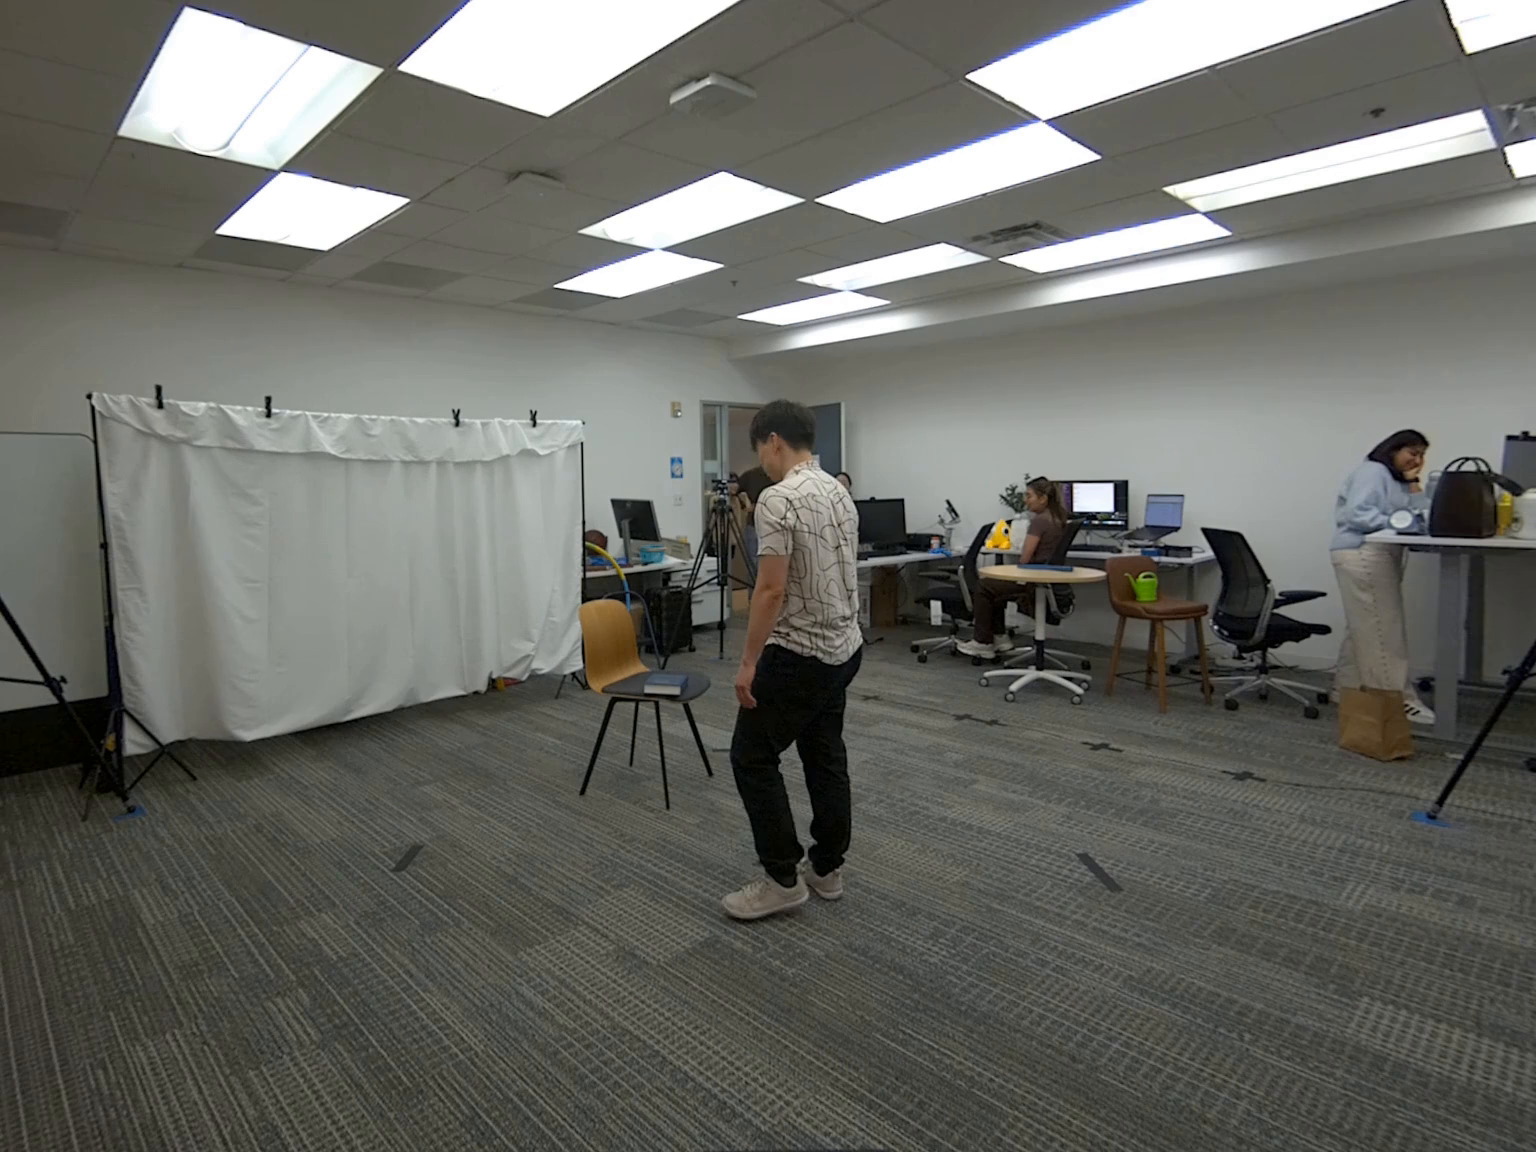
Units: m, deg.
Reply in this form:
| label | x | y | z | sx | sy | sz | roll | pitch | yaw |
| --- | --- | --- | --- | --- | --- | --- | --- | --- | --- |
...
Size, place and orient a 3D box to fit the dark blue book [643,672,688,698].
| label | x | y | z | sx | sy | sz | roll | pitch | yaw |
| --- | --- | --- | --- | --- | --- | --- | --- | --- | --- |
| dark blue book | -0.448 | 0.475 | 3.745 | 0.164 | 0.045 | 0.245 | 2 | 3 | 2 |
